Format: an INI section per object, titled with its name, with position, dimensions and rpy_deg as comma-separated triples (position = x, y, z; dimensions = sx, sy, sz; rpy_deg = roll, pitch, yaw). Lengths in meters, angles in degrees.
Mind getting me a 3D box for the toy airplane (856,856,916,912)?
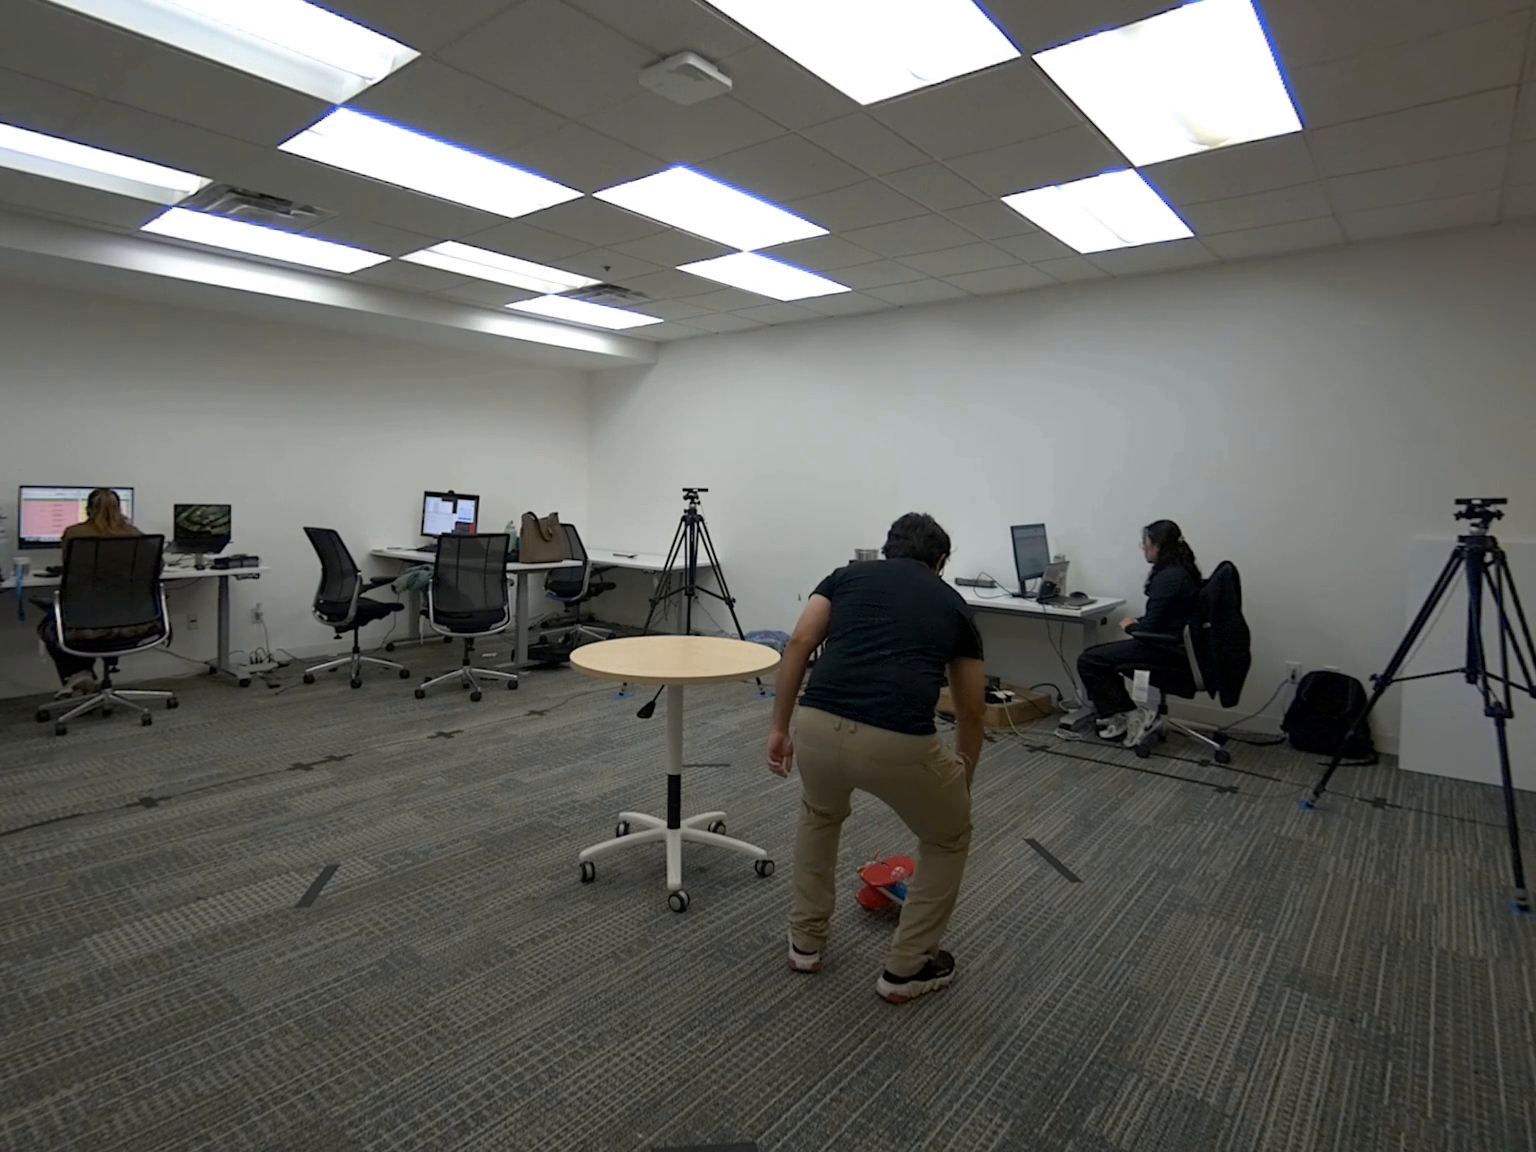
[toy airplane]
position = 0.431, 1.038, 2.823
dimensions = 0.265, 0.156, 0.246
rpy_deg = 2, 4, 20
